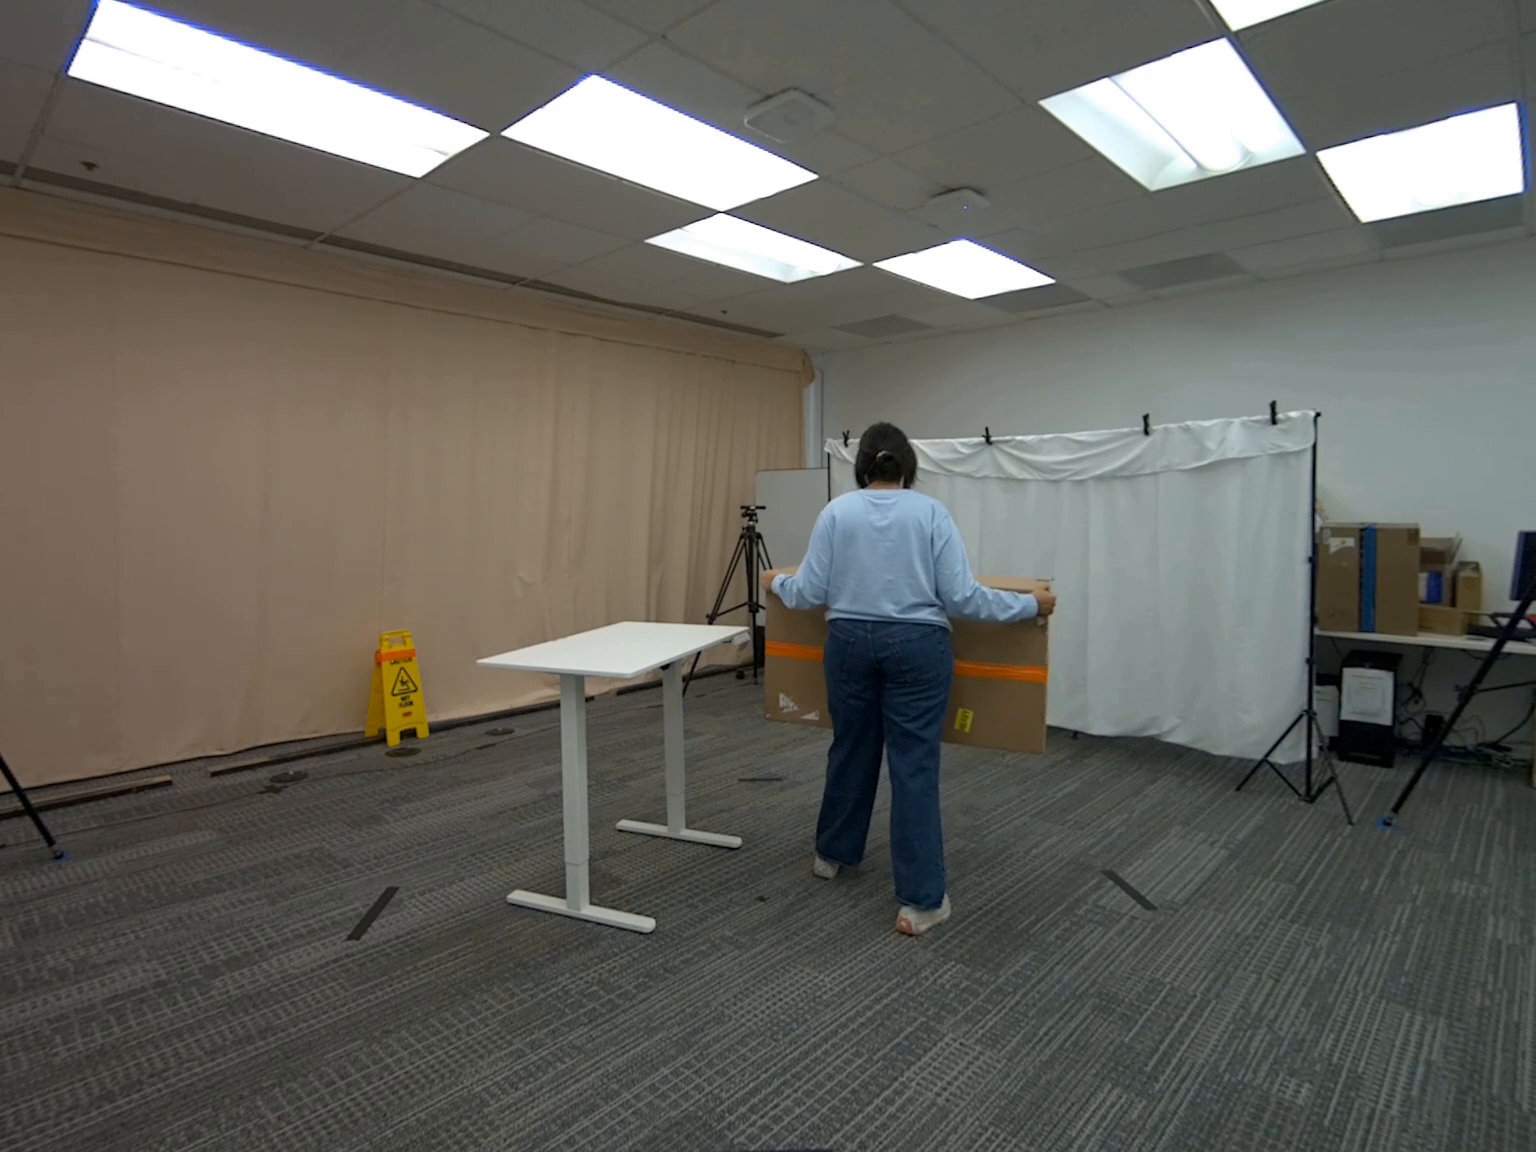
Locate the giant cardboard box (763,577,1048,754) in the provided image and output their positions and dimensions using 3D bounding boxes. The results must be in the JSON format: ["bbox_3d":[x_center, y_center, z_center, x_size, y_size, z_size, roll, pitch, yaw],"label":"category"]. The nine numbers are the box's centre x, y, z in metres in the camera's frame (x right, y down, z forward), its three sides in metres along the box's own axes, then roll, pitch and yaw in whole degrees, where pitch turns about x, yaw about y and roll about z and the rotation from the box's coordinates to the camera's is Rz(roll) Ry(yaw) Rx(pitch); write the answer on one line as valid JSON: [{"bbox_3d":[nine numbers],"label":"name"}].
[{"bbox_3d":[0.542,0.284,3.274,1.049,0.575,0.418,3,6,21],"label":"giant cardboard box"}]
